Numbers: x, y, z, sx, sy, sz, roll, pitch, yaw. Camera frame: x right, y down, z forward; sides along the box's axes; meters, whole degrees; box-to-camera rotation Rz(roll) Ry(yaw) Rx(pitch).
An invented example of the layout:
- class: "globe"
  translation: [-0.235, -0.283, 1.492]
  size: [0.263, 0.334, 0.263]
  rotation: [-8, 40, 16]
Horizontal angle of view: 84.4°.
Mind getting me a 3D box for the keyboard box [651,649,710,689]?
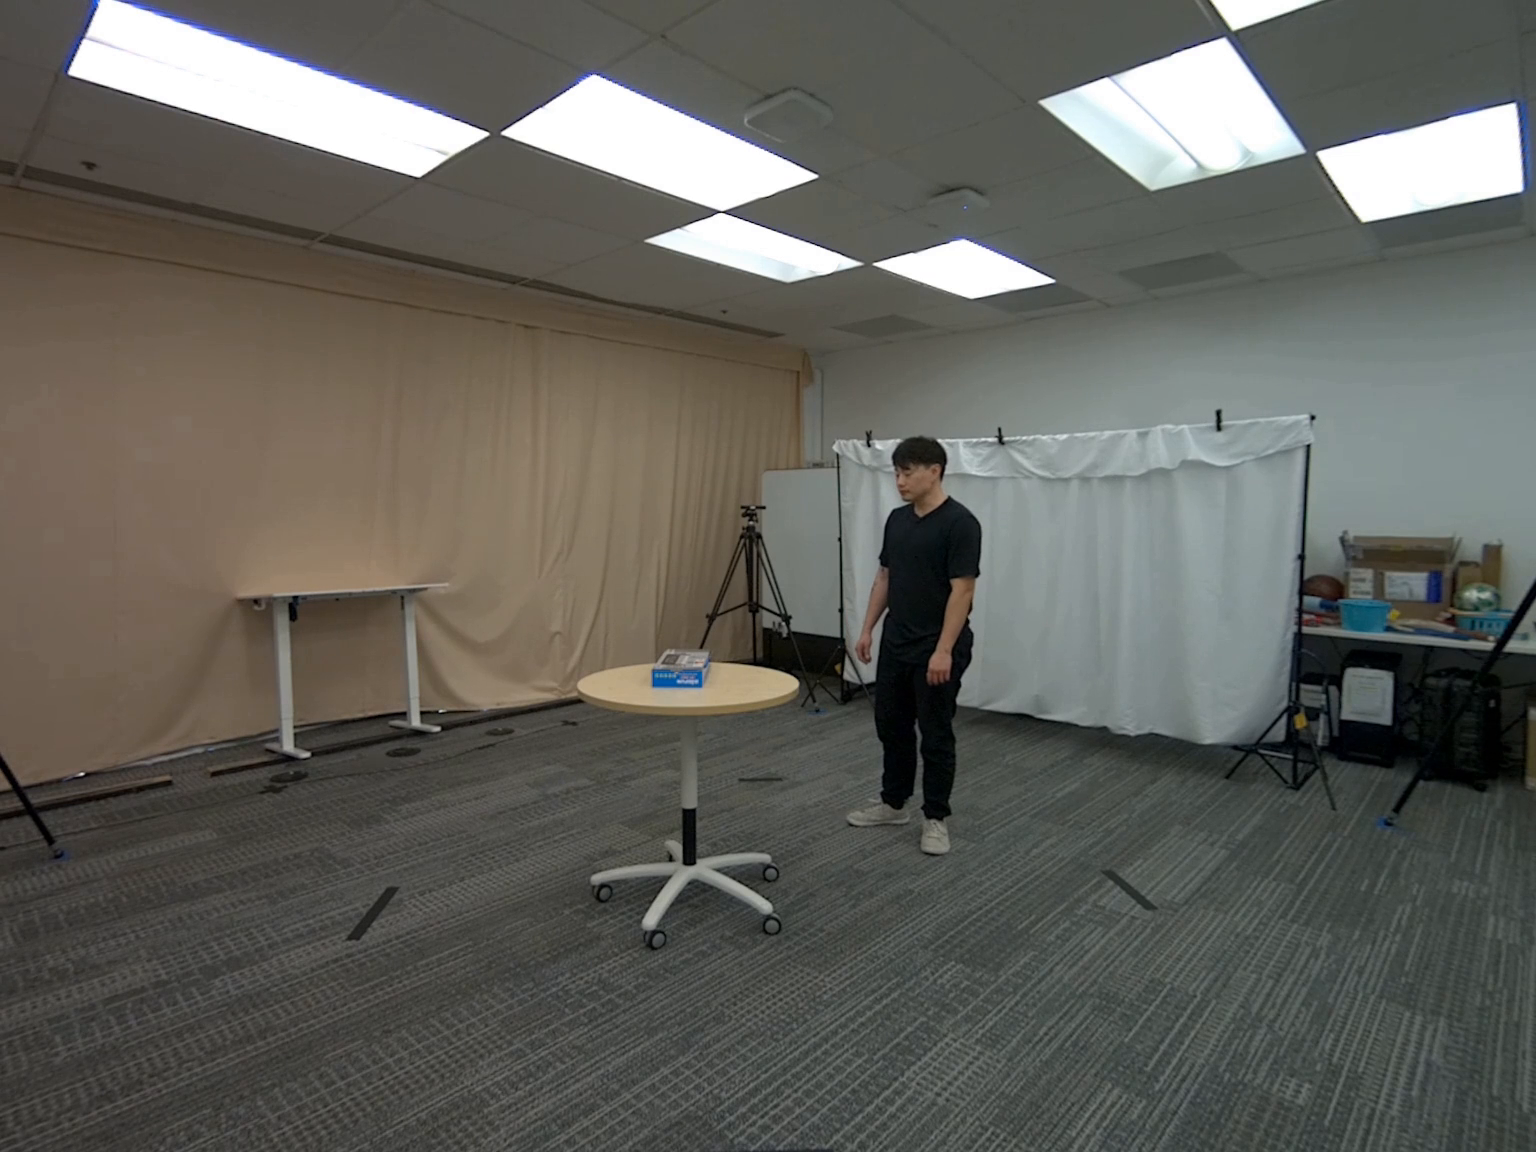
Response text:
- class: "keyboard box"
  translation: [-0.302, 0.327, 3.044]
  size: [0.176, 0.059, 0.437]
  rotation: [-1, 5, 0]
